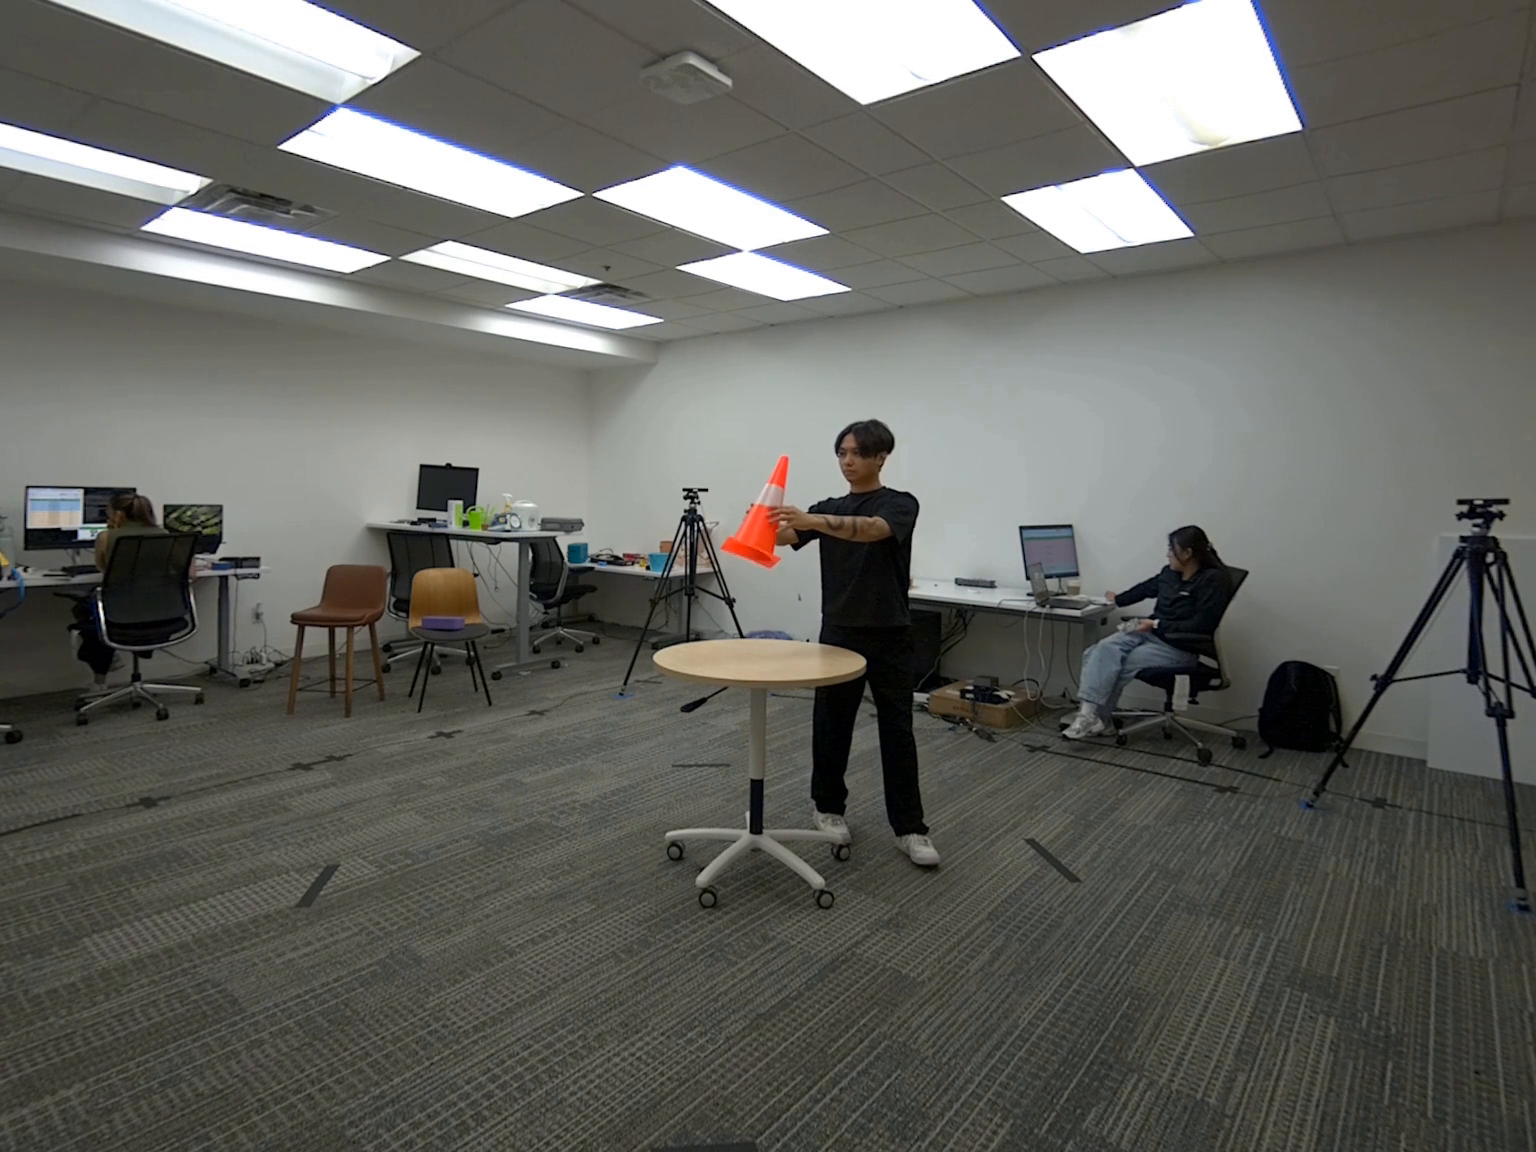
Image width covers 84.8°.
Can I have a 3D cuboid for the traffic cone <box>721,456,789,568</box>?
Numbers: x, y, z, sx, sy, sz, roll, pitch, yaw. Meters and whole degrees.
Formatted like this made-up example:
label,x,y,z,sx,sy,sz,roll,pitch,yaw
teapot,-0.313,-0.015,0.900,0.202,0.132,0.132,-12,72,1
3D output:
label,x,y,z,sx,sy,sz,roll,pitch,yaw
traffic cone,-0.004,-0.250,3.014,0.208,0.386,0.198,12,-12,20
